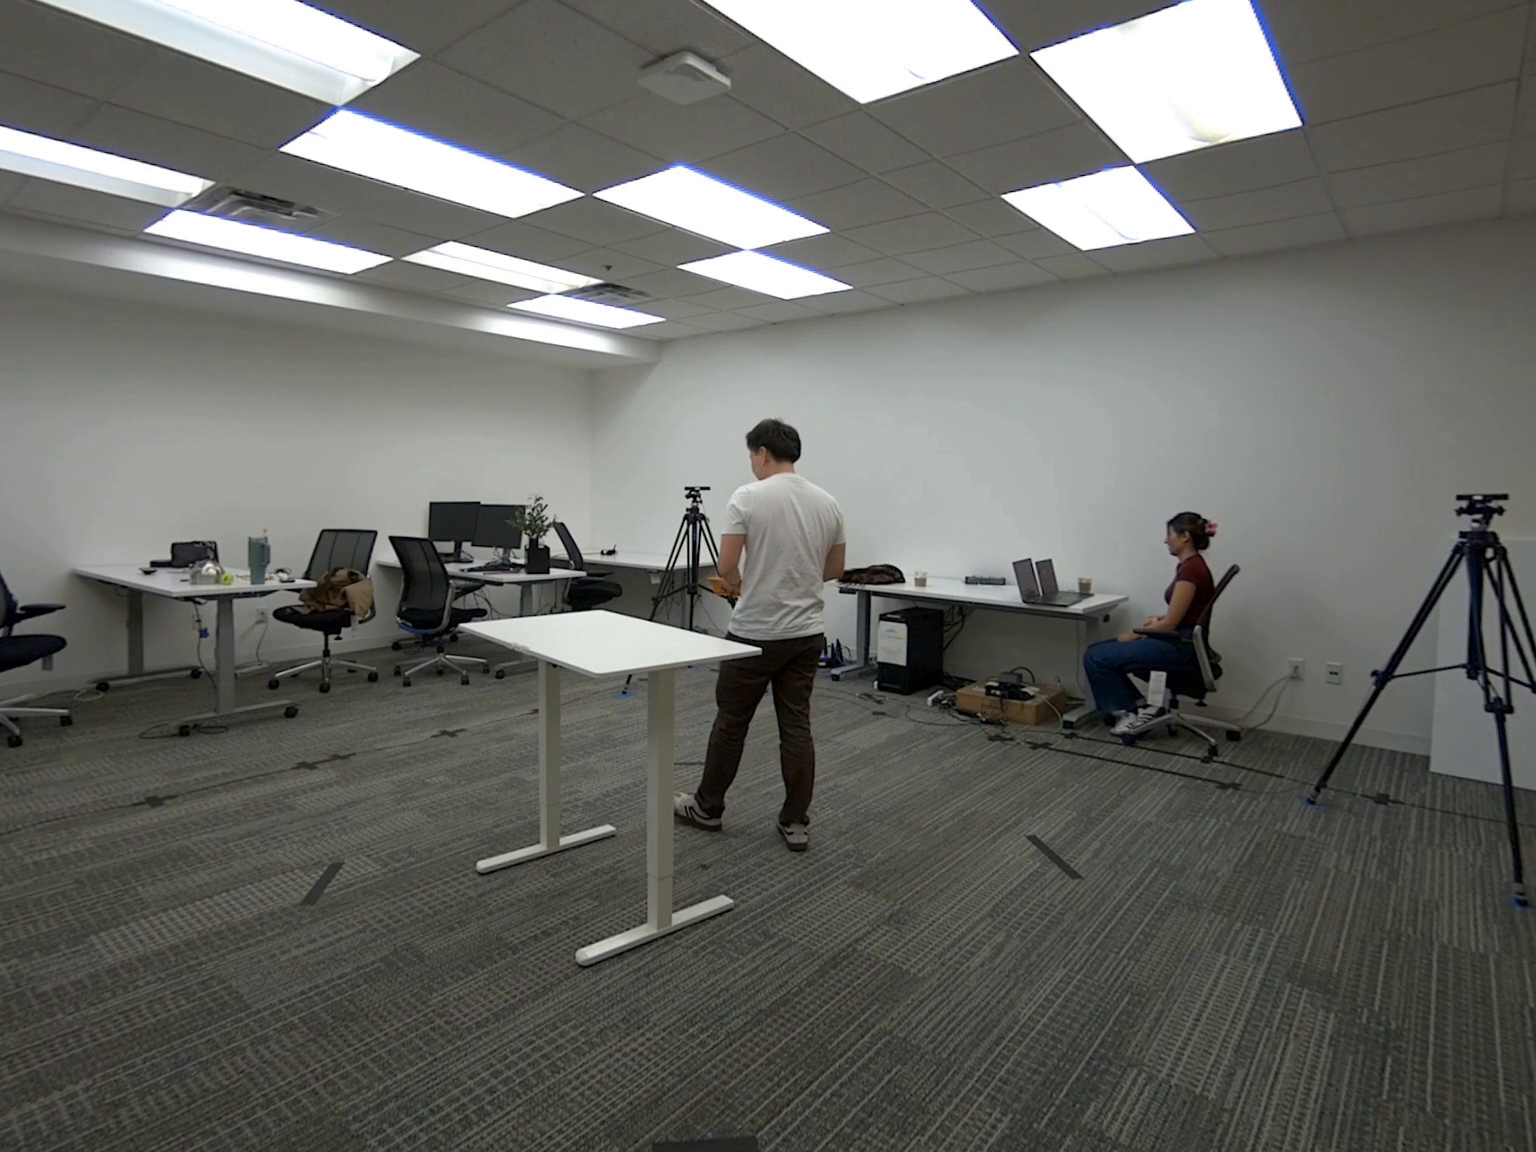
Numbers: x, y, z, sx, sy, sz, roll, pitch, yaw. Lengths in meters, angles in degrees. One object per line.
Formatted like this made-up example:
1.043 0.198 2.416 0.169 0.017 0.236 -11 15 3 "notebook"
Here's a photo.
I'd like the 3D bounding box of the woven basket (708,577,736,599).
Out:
-0.117 0.046 3.683 0.248 0.073 0.356 -1 2 -16 "woven basket"
